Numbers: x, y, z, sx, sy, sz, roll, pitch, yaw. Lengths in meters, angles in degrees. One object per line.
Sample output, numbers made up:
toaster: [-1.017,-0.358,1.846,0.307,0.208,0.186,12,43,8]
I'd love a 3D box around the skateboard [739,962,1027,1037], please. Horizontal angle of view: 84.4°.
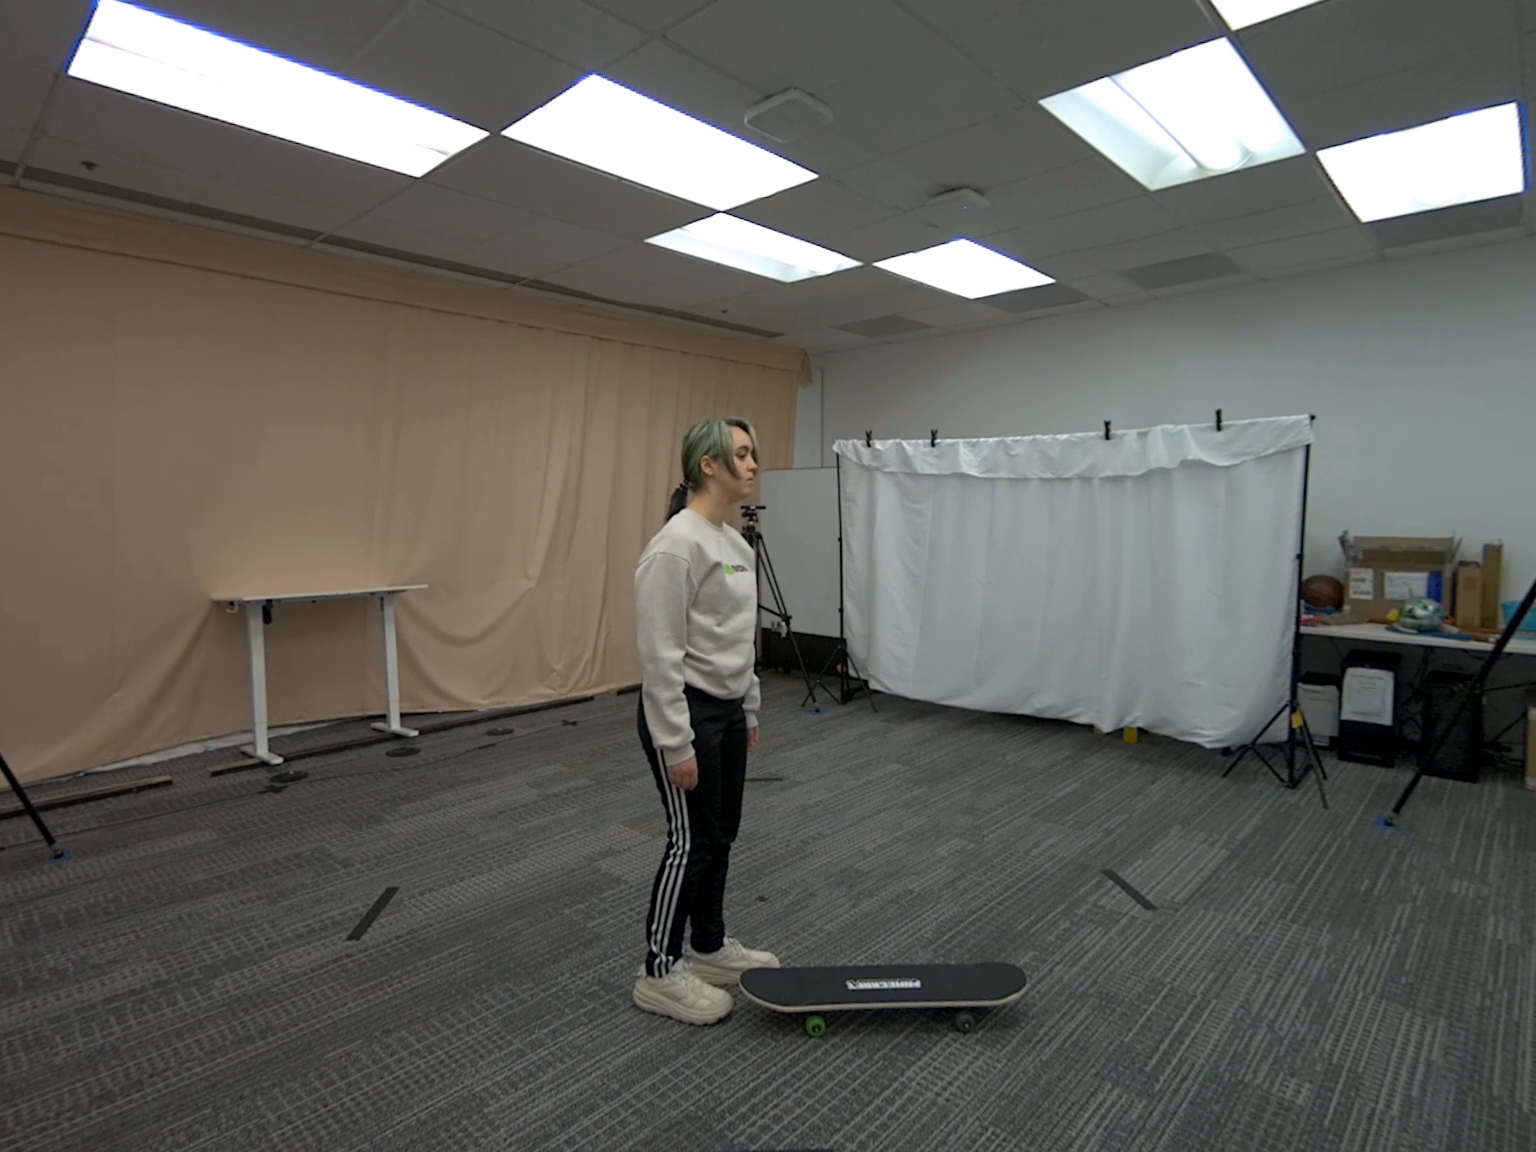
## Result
skateboard: [0.326,1.145,2.290,0.783,0.110,0.194,-1,4,-2]
